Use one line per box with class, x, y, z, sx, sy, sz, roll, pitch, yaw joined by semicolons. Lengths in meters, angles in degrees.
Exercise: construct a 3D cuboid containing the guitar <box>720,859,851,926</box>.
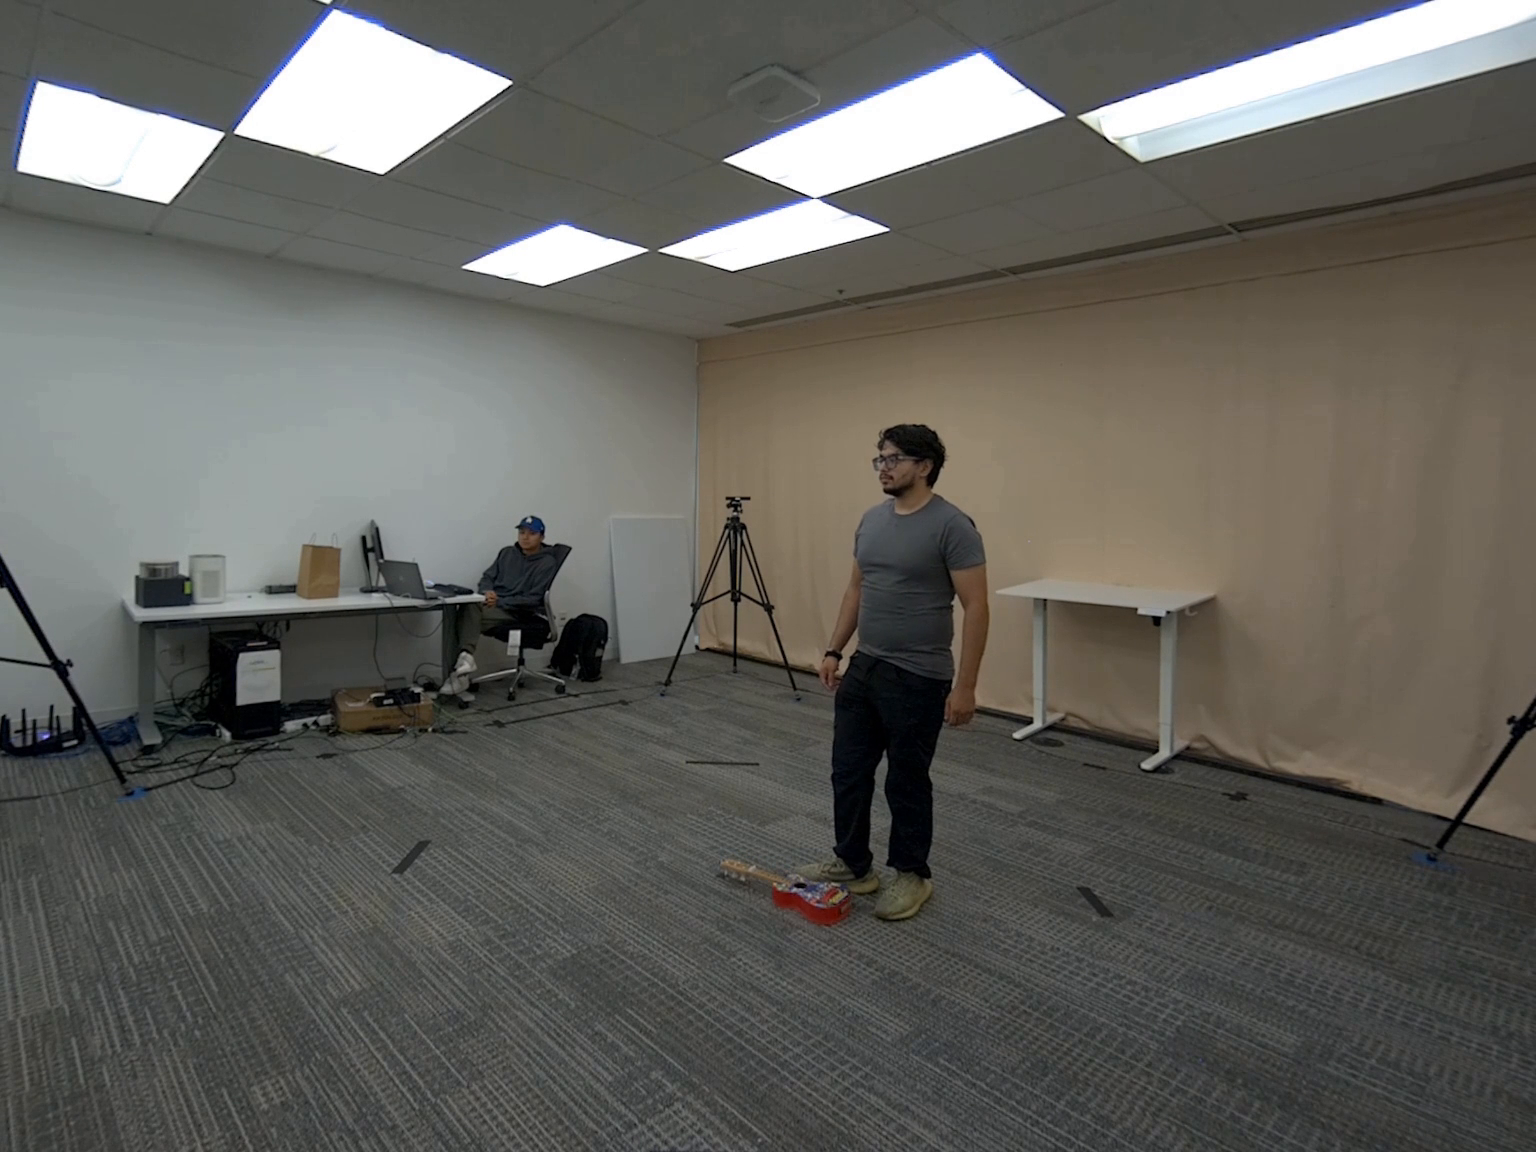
guitar;0.061;1.085;2.972;0.510;0.070;0.189;6;7;41
